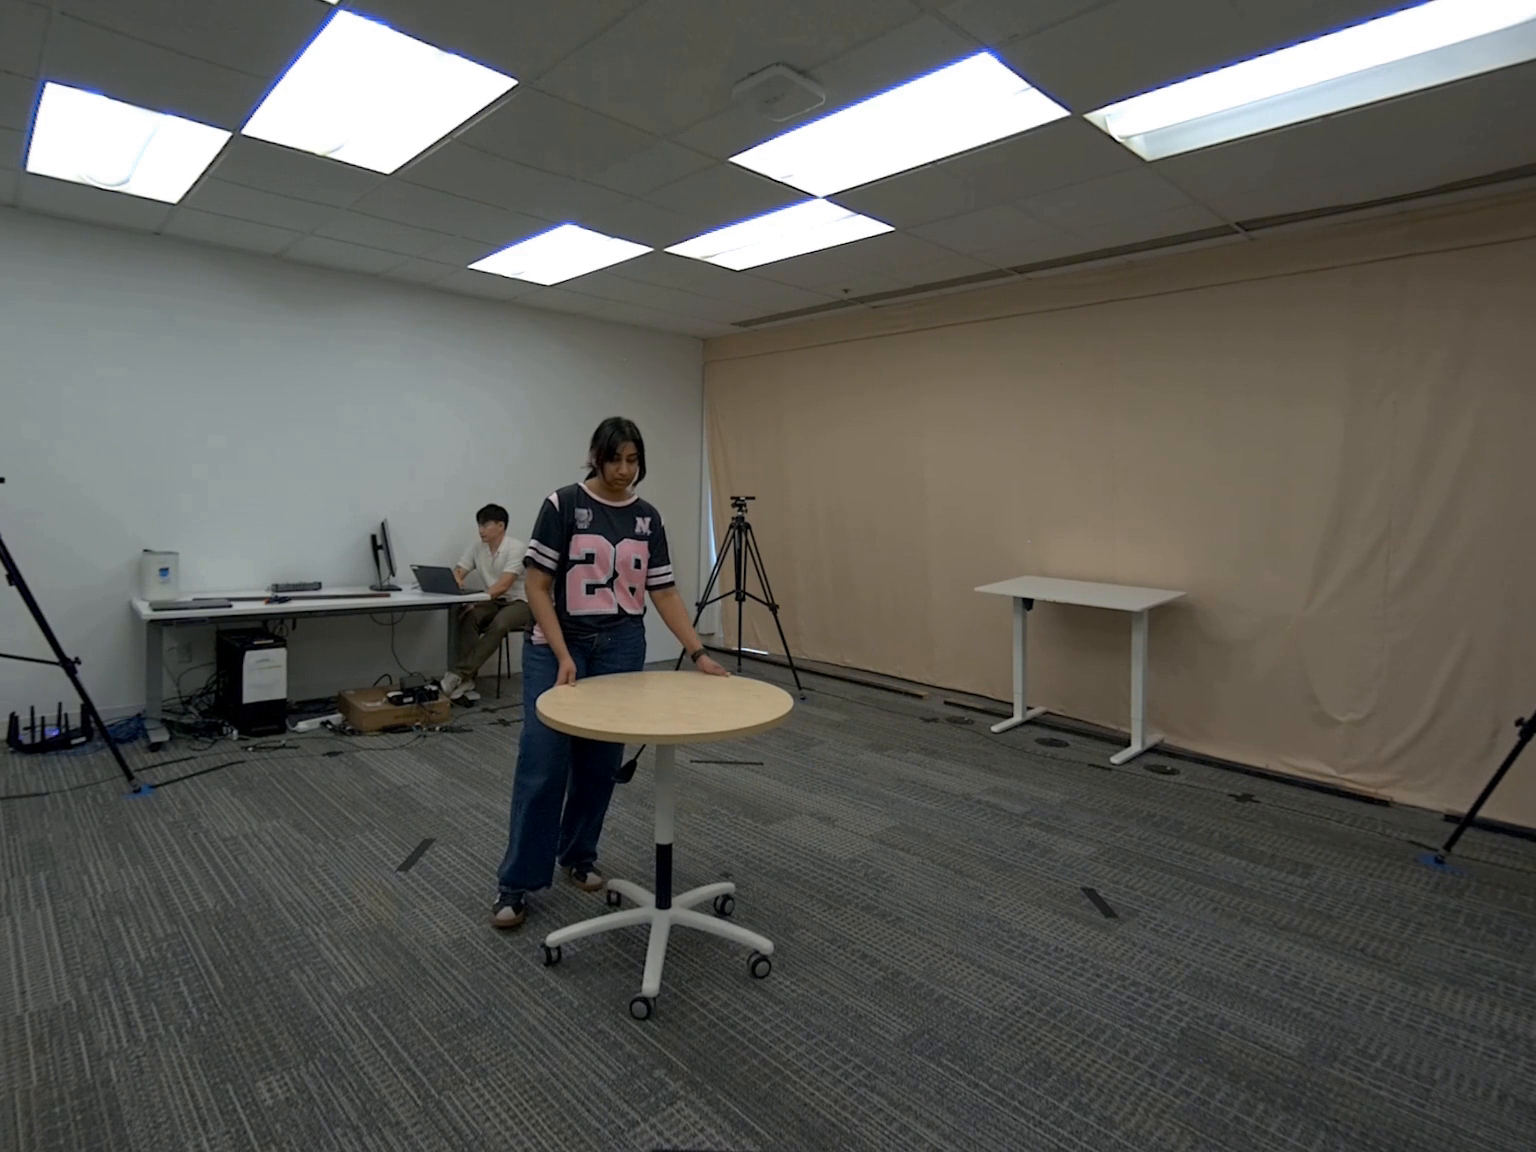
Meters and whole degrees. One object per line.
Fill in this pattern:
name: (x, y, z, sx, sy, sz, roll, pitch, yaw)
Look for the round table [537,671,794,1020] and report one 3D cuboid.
round table: (-0.302, 0.758, 2.561, 0.784, 0.784, 0.788, 2, 4, -1)
